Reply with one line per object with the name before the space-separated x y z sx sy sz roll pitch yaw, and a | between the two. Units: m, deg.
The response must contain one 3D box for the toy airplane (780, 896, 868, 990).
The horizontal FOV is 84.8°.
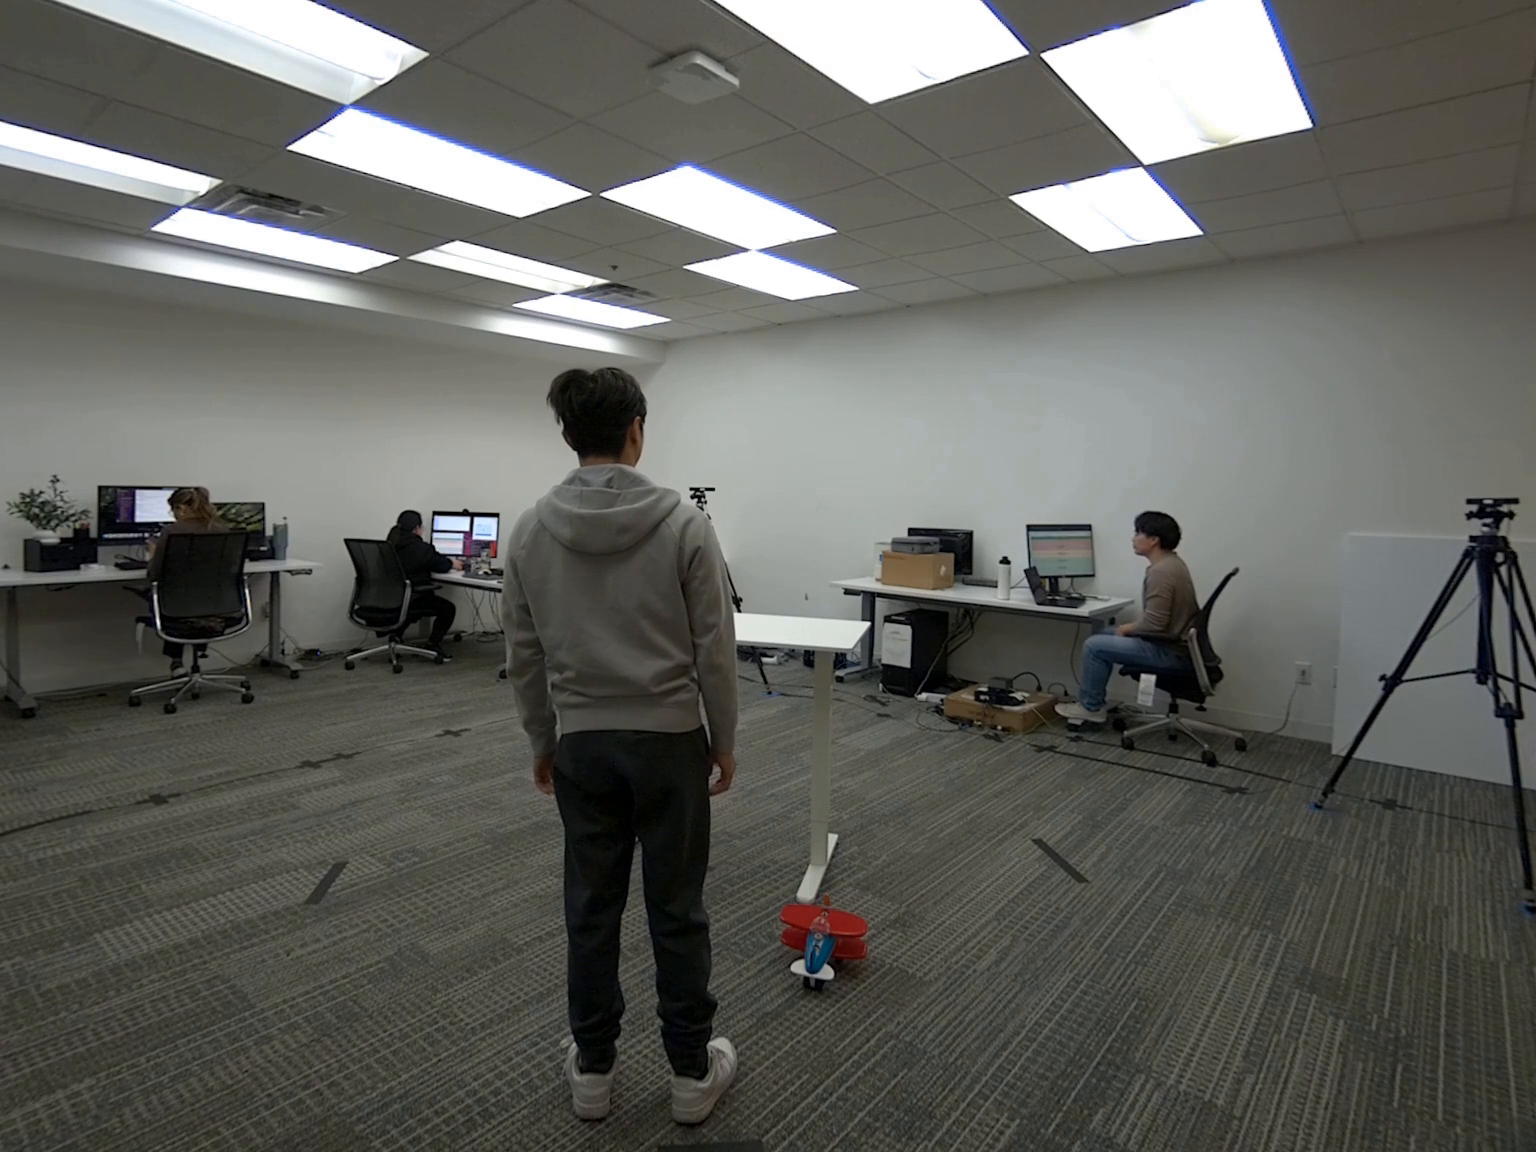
toy airplane | 0.161 1.061 2.464 0.248 0.156 0.263 0 4 -11
